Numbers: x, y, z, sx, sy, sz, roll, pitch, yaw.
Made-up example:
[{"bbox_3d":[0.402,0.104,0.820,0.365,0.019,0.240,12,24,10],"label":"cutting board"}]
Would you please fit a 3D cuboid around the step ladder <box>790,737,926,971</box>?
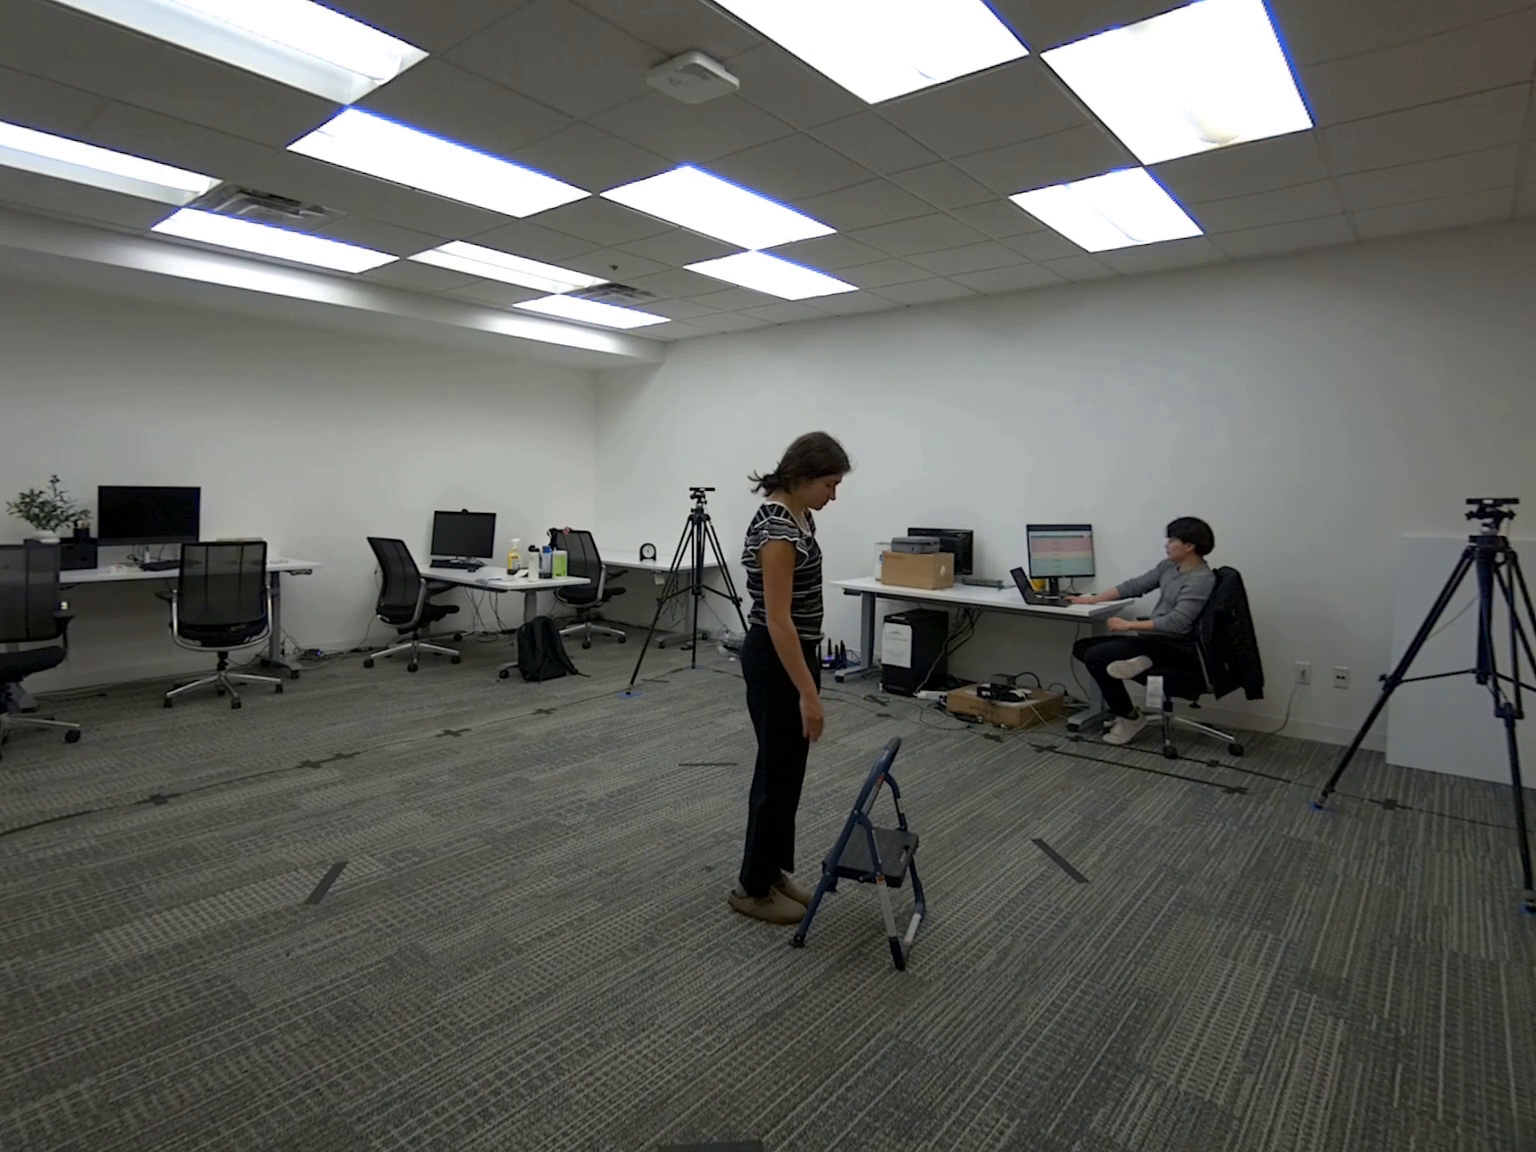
[{"bbox_3d":[0.304,0.818,2.702,0.357,0.604,0.422,3,4,20],"label":"step ladder"}]
